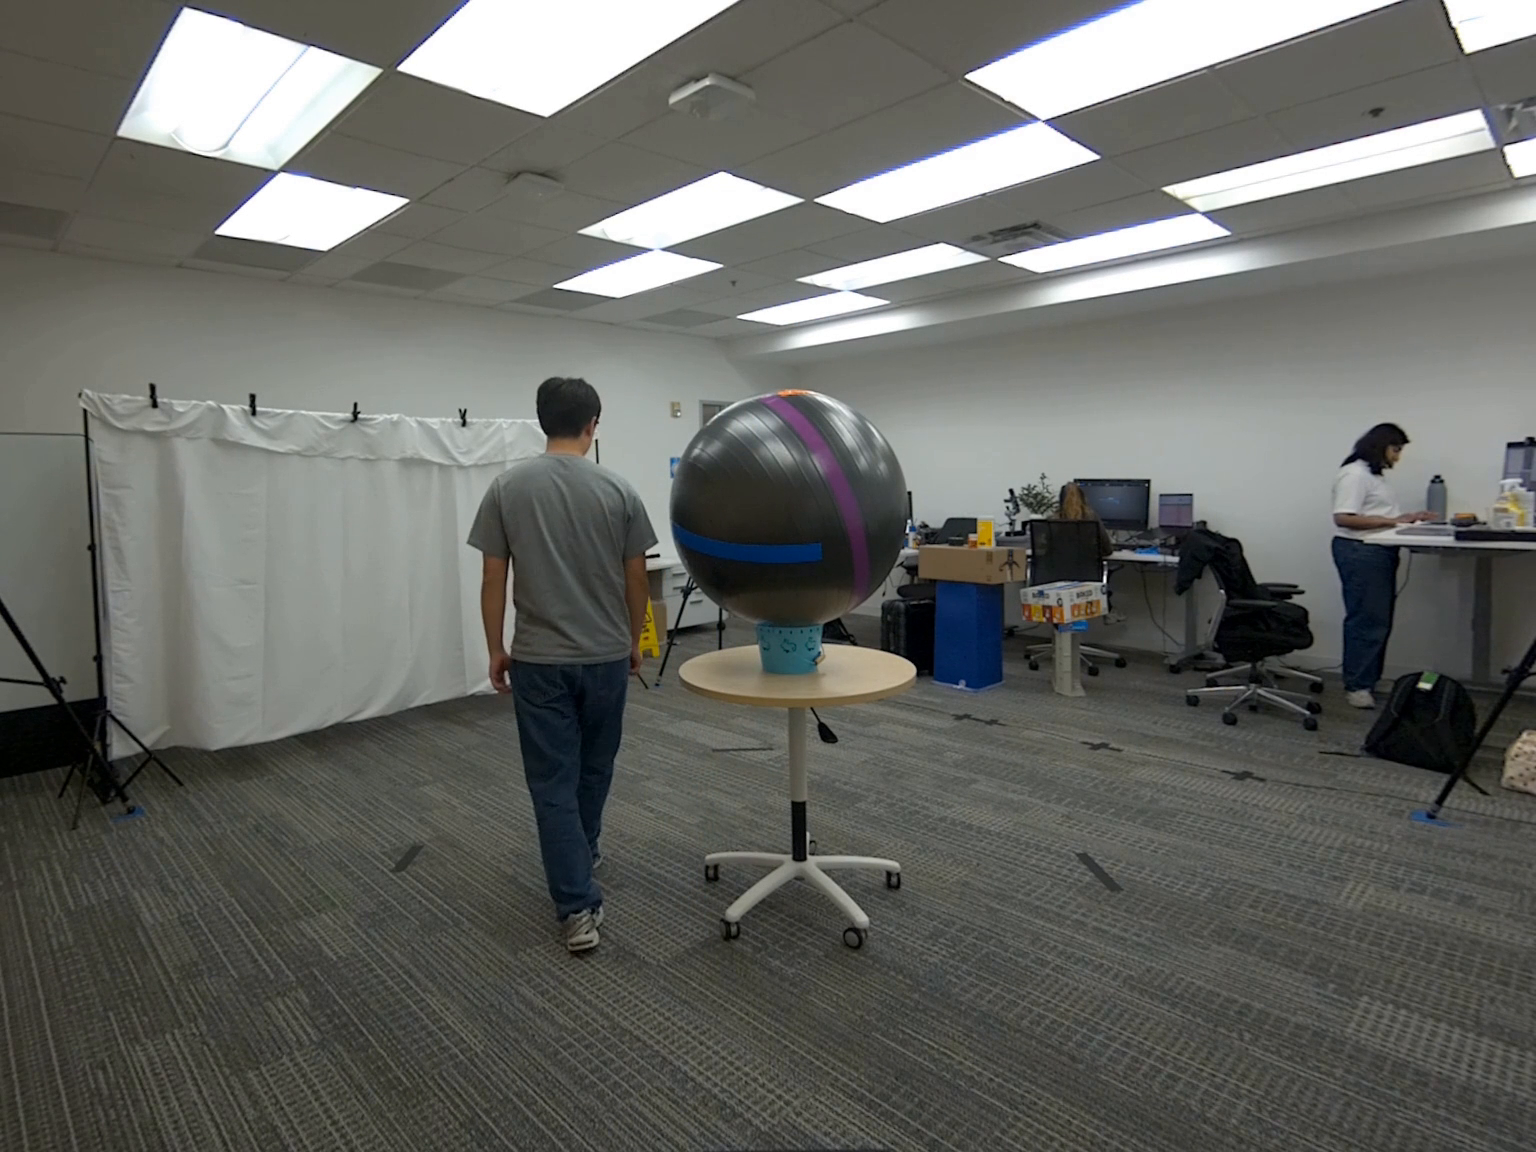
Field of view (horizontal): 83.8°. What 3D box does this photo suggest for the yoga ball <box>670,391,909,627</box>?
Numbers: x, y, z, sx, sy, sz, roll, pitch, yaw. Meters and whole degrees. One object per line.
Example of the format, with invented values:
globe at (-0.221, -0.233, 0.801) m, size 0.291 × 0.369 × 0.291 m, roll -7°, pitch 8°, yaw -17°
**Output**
yoga ball at (0.072, -0.209, 2.742) m, size 0.757 × 0.755 × 0.762 m, roll -1°, pitch 5°, yaw -2°
